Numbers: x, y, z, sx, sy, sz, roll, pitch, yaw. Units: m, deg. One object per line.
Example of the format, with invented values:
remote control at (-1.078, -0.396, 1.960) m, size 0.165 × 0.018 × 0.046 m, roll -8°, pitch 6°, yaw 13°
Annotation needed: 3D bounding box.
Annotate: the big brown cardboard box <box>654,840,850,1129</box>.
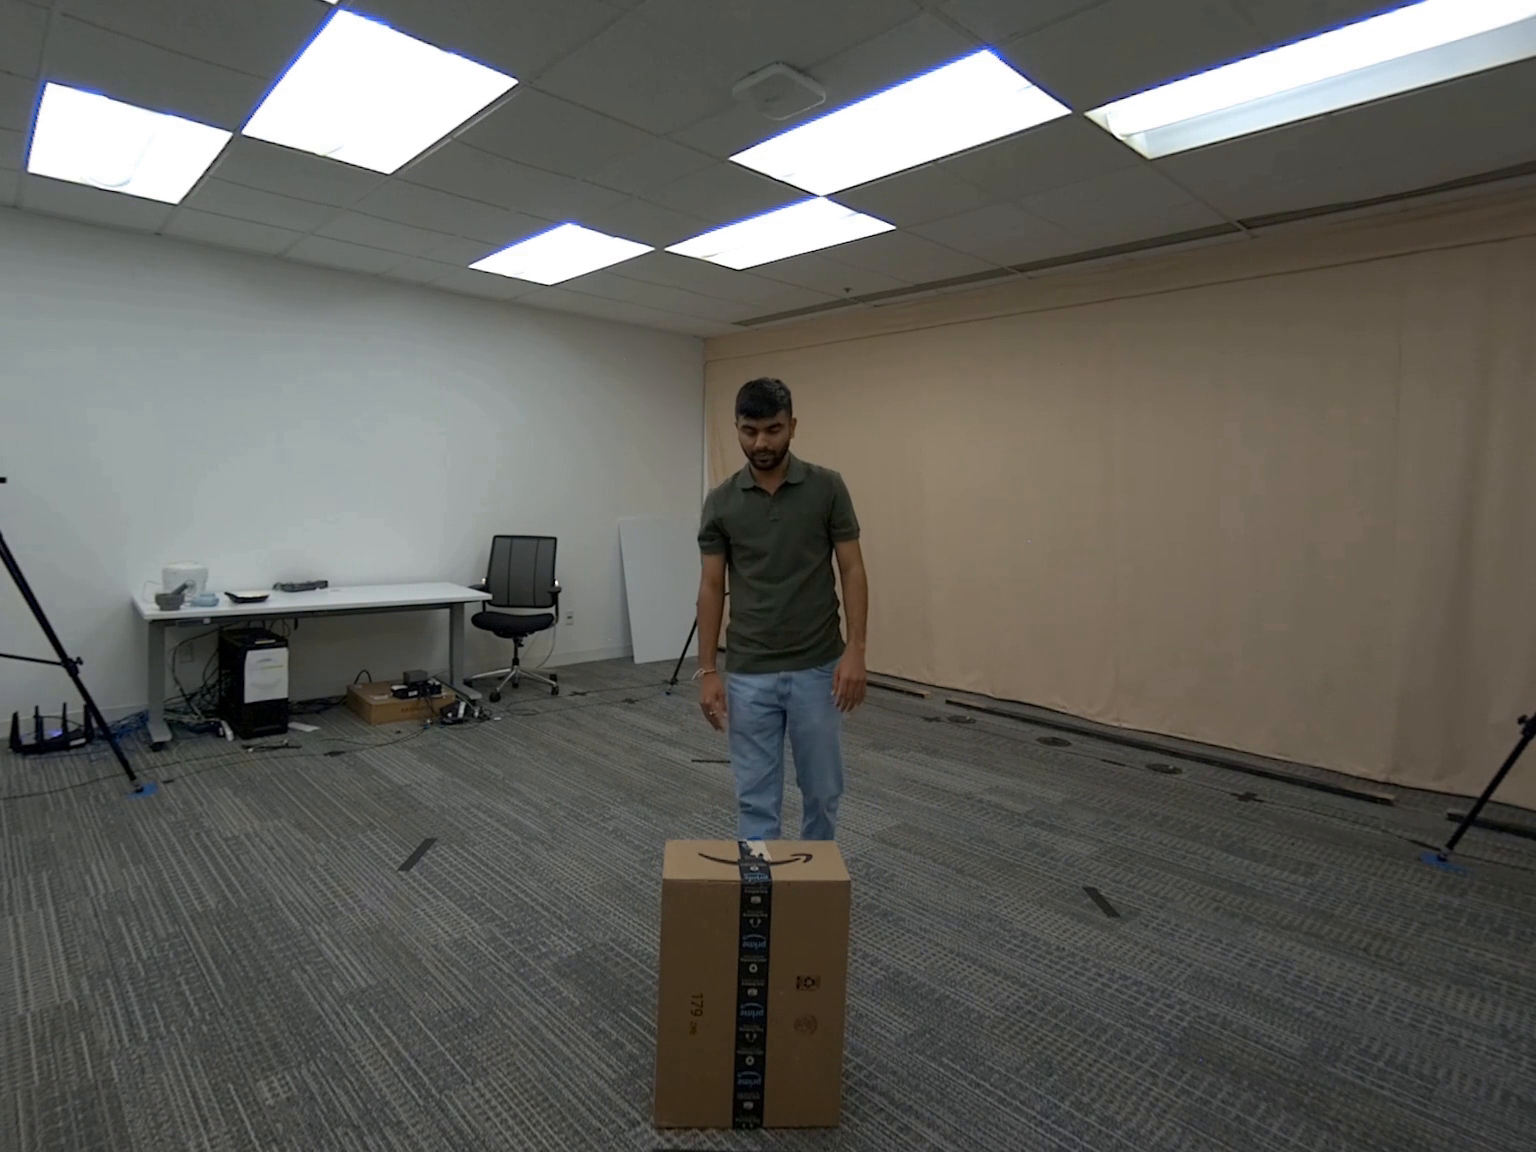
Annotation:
big brown cardboard box at (-0.053, 0.938, 1.942) m, size 0.417 × 0.587 × 0.234 m, roll 2°, pitch 4°, yaw -3°
